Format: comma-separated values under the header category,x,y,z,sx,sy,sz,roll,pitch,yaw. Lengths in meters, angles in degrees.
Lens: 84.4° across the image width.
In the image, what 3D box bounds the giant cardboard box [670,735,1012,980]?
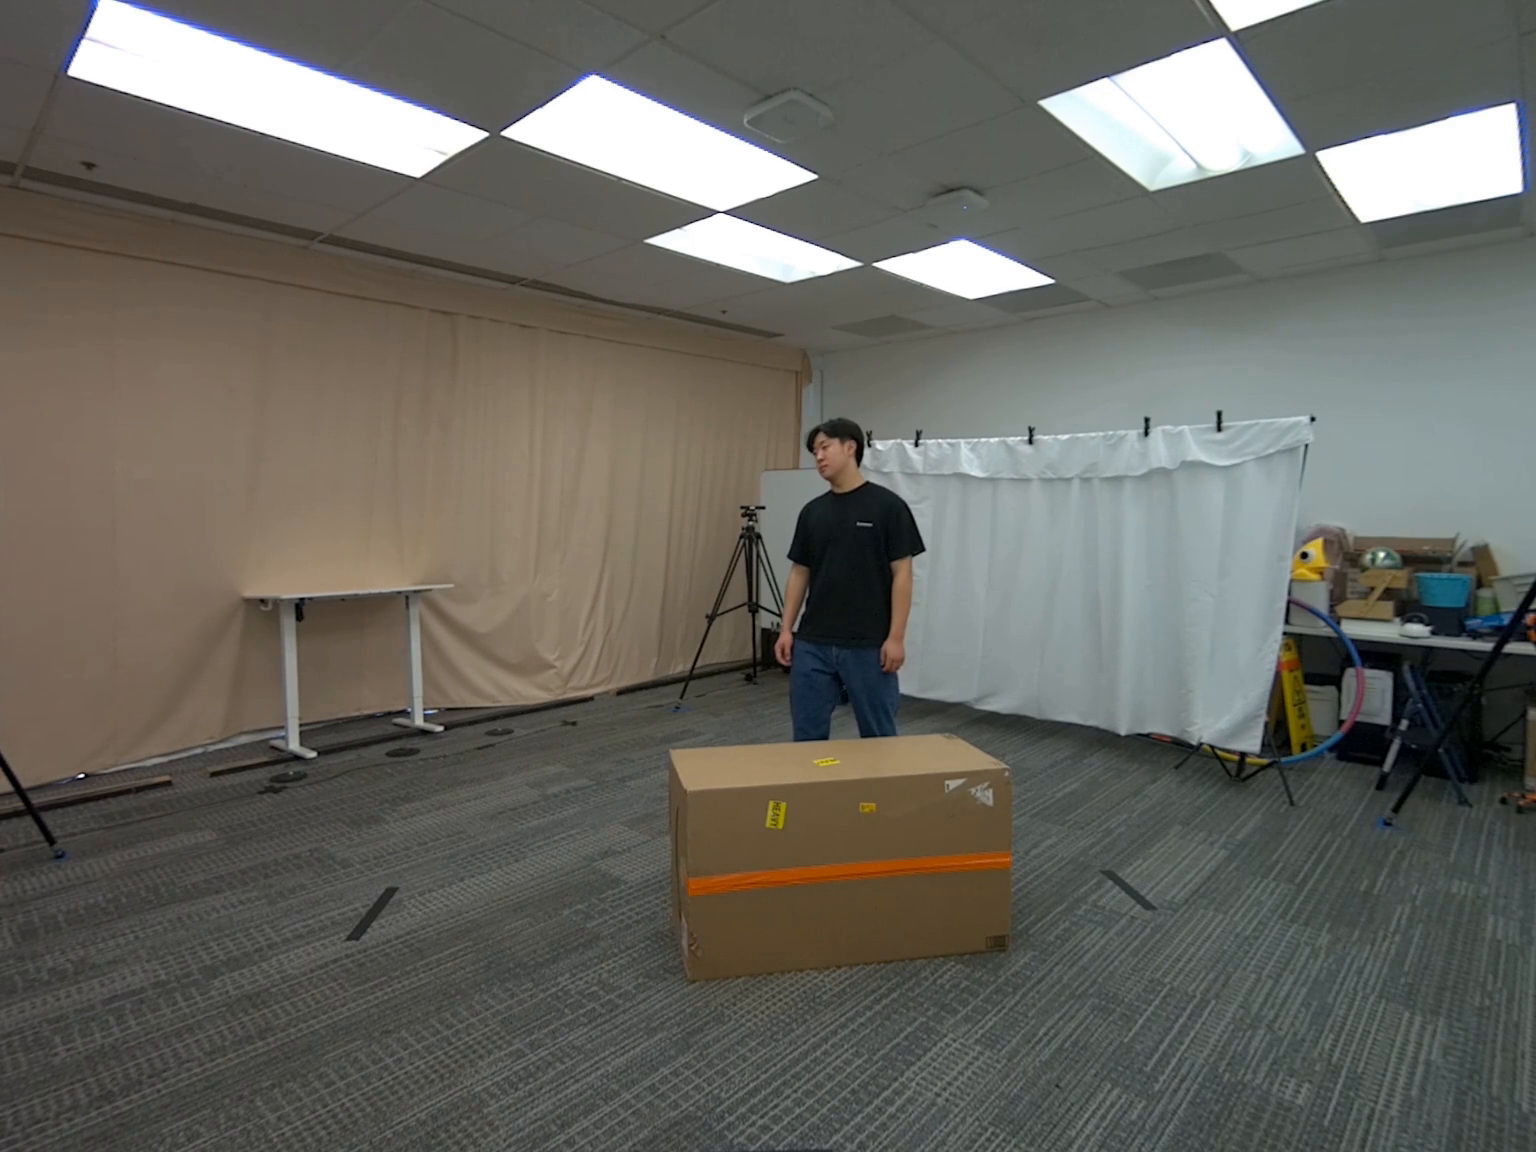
category,x,y,z,sx,sy,sz,roll,pitch,yaw
giant cardboard box,0.212,0.877,2.734,1.015,0.582,0.453,-1,4,-11
